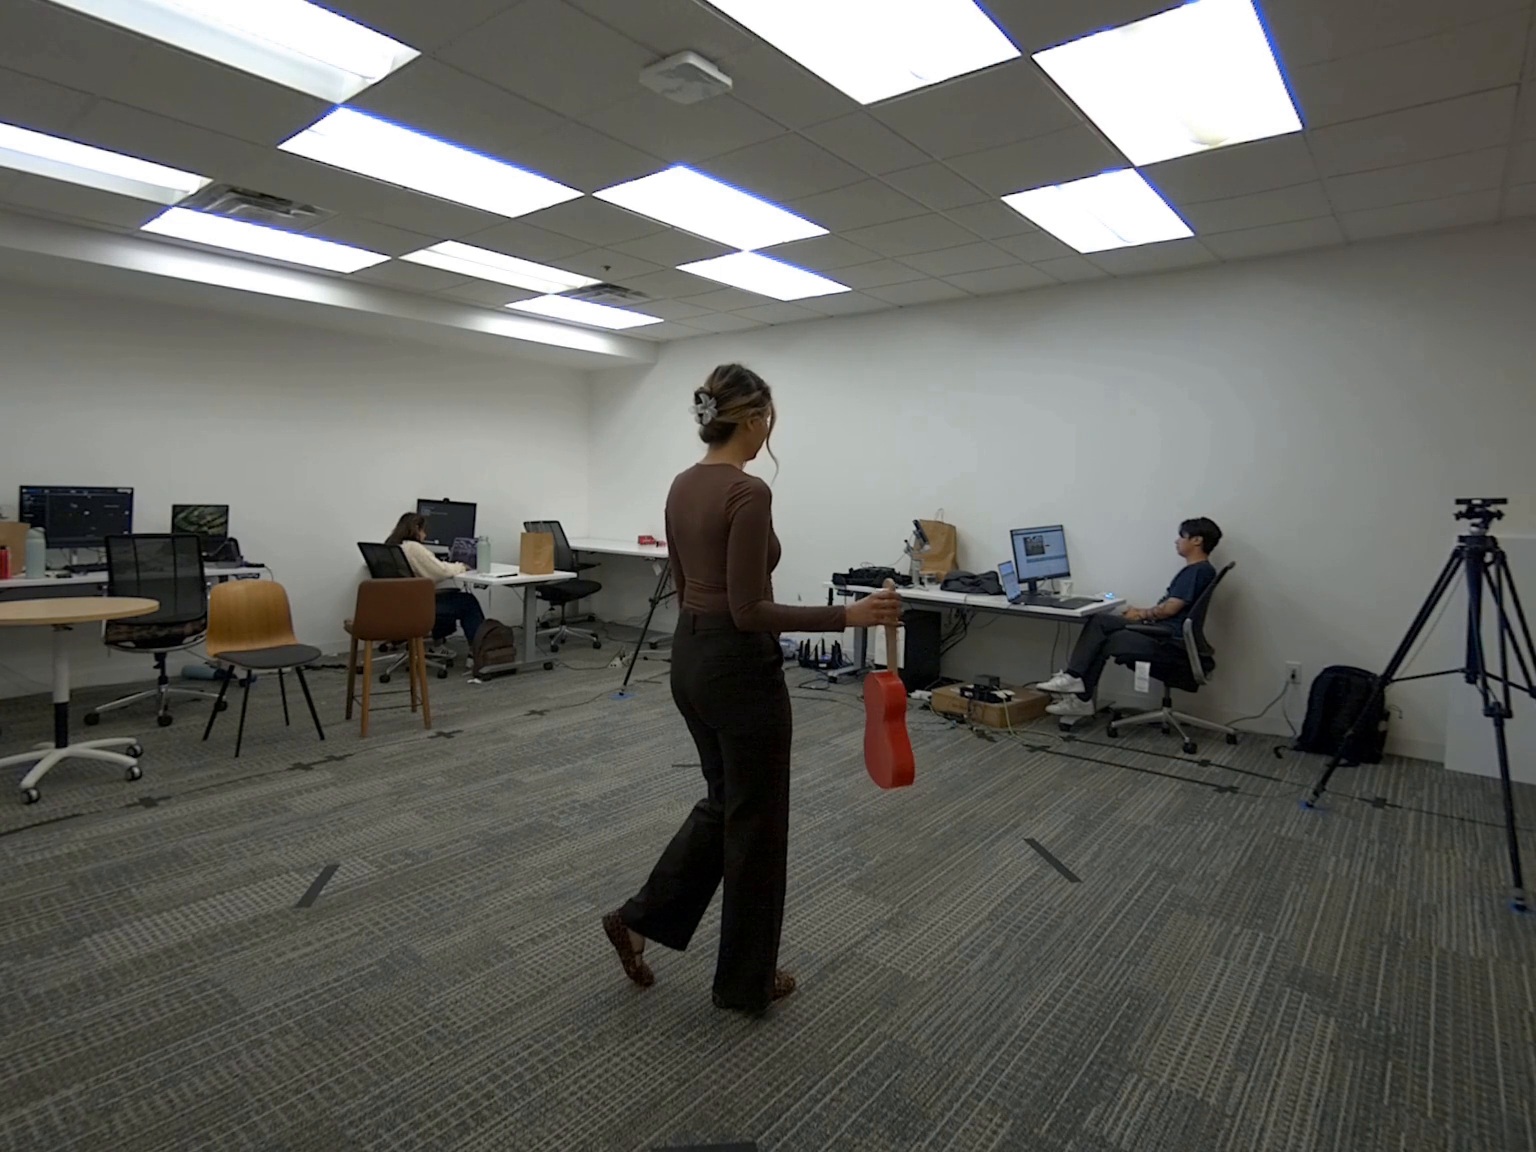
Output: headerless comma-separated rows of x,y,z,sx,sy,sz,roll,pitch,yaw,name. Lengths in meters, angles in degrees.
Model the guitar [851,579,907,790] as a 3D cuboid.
0.275,0.262,2.116,0.070,0.501,0.193,0,-7,-7,guitar
